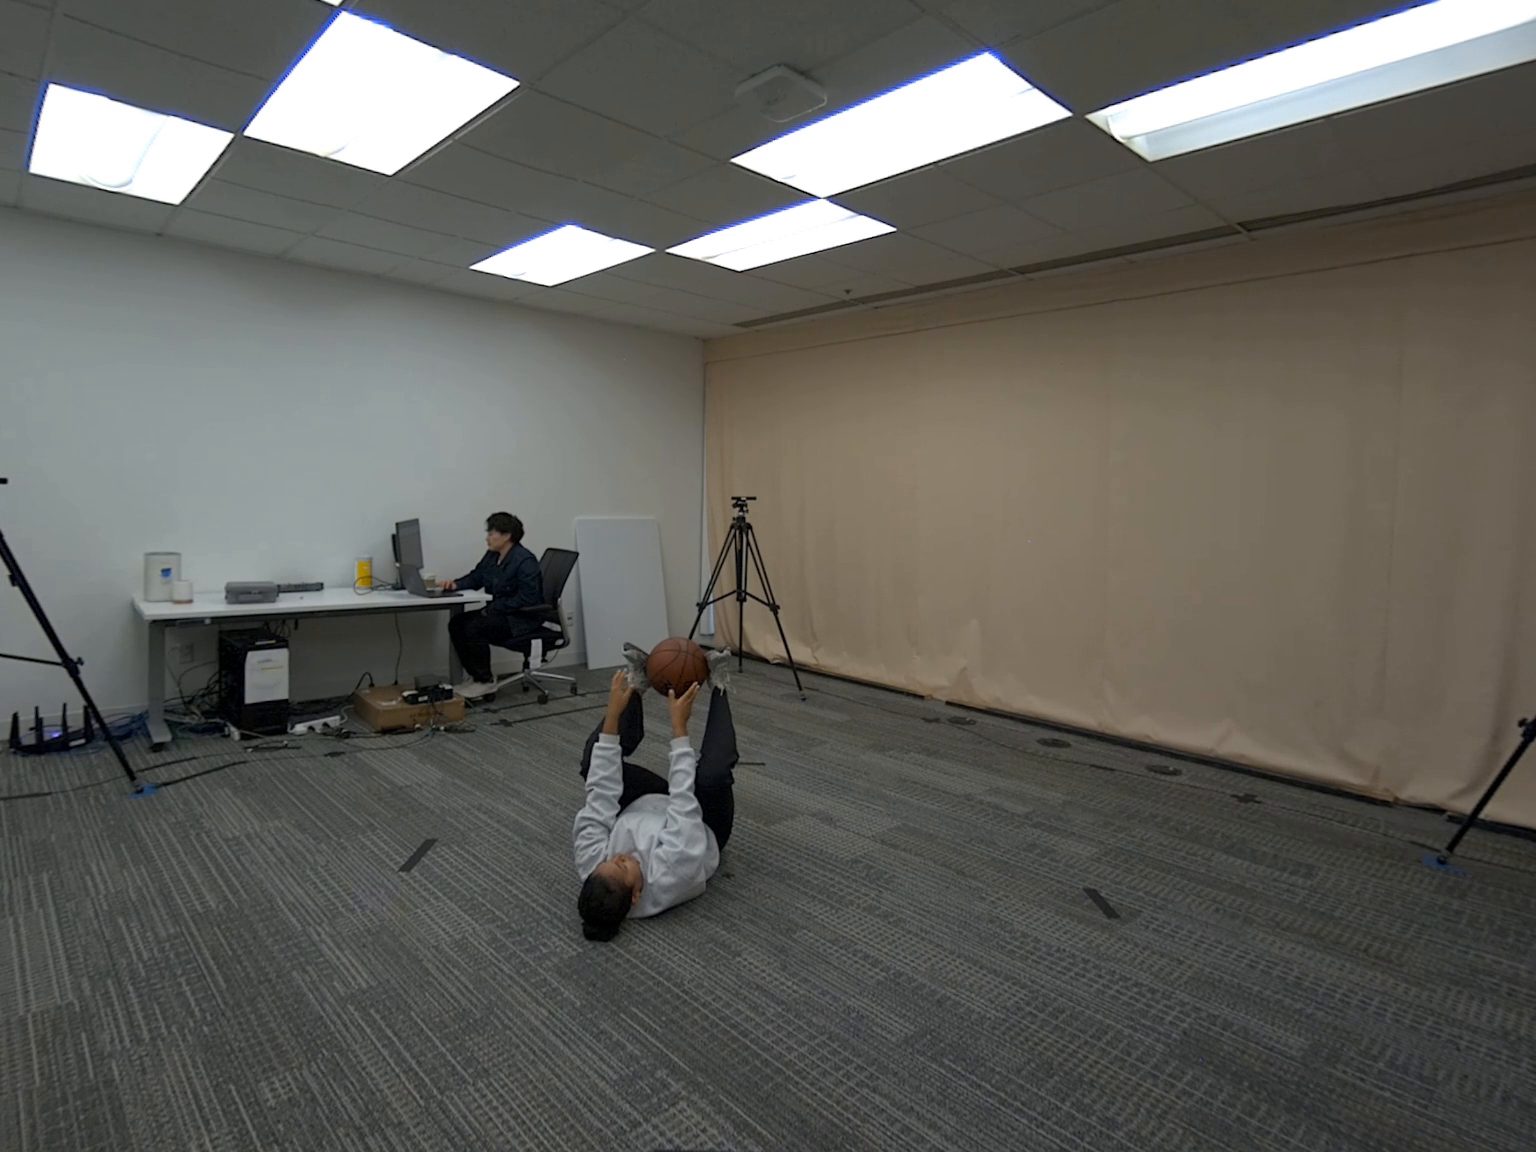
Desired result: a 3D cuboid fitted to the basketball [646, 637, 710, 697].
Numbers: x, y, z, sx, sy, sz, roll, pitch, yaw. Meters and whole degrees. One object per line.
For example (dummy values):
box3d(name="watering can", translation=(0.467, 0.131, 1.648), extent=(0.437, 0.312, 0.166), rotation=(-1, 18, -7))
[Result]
box3d(name="basketball", translation=(-0.353, 0.357, 3.273), extent=(0.235, 0.235, 0.237), rotation=(4, 7, -2))
